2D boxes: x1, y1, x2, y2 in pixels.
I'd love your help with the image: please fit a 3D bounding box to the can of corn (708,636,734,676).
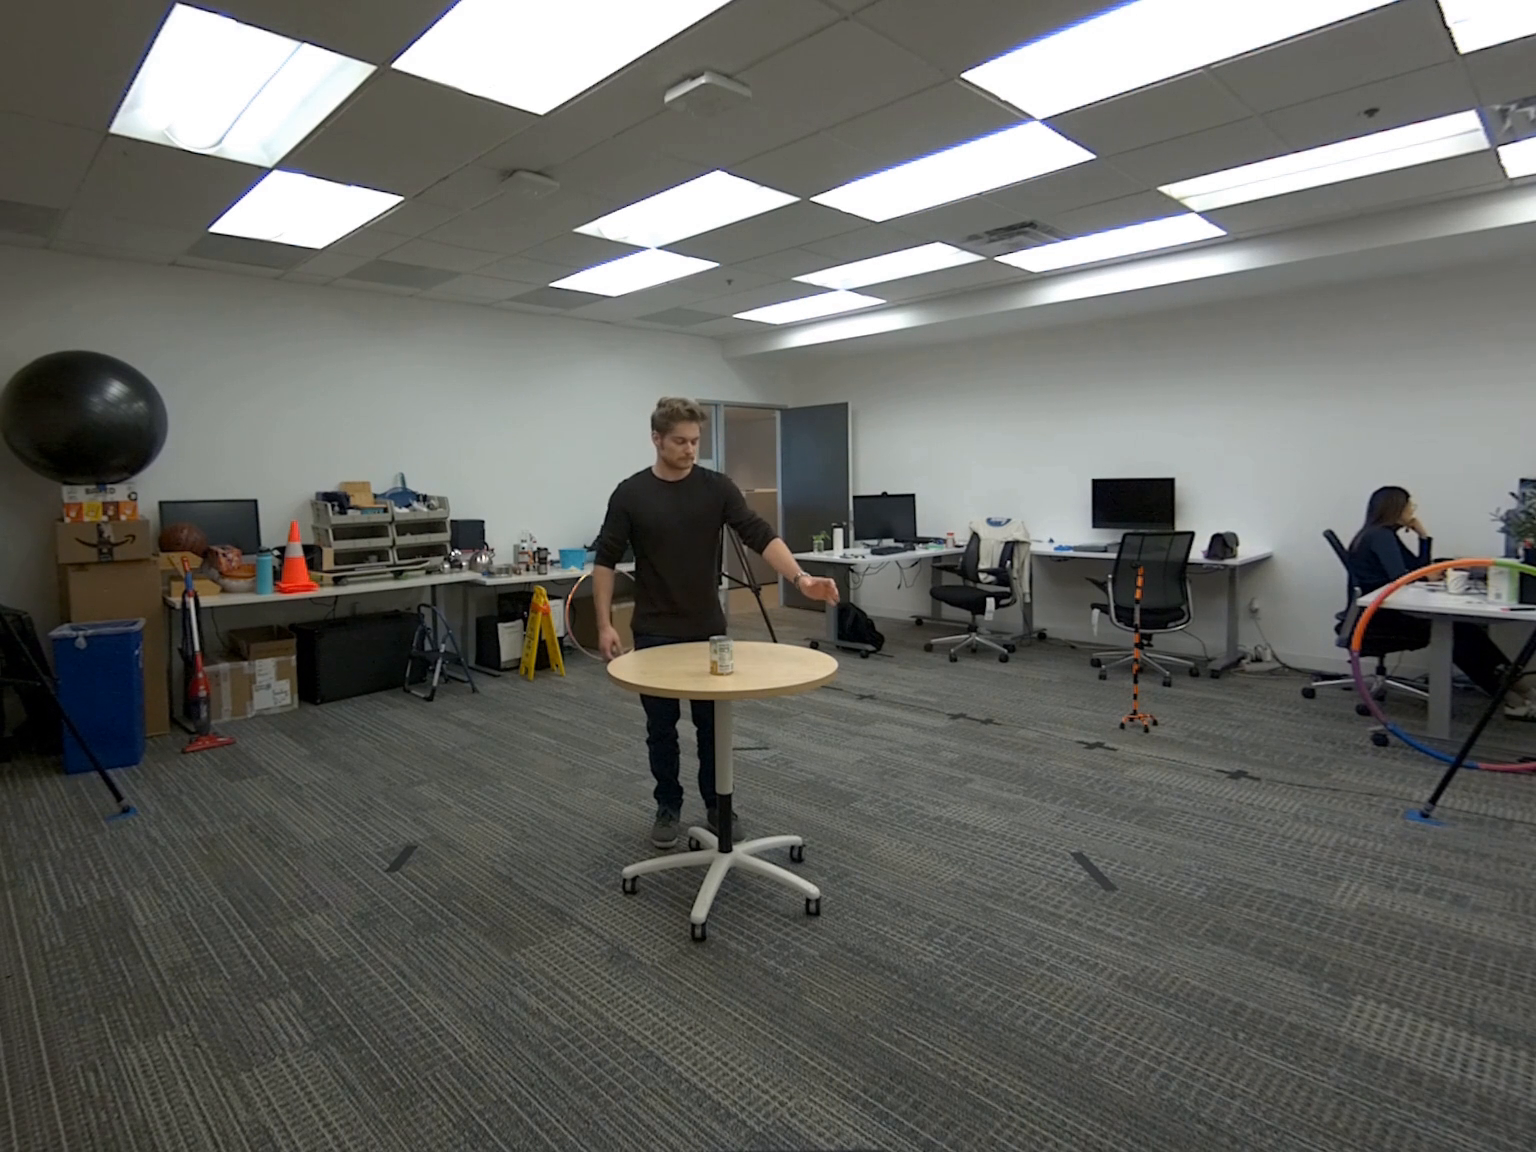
[{"bbox_3d":[-0.140,0.254,2.692,0.074,0.110,0.075,-3,6,-1],"label":"can of corn"}]
